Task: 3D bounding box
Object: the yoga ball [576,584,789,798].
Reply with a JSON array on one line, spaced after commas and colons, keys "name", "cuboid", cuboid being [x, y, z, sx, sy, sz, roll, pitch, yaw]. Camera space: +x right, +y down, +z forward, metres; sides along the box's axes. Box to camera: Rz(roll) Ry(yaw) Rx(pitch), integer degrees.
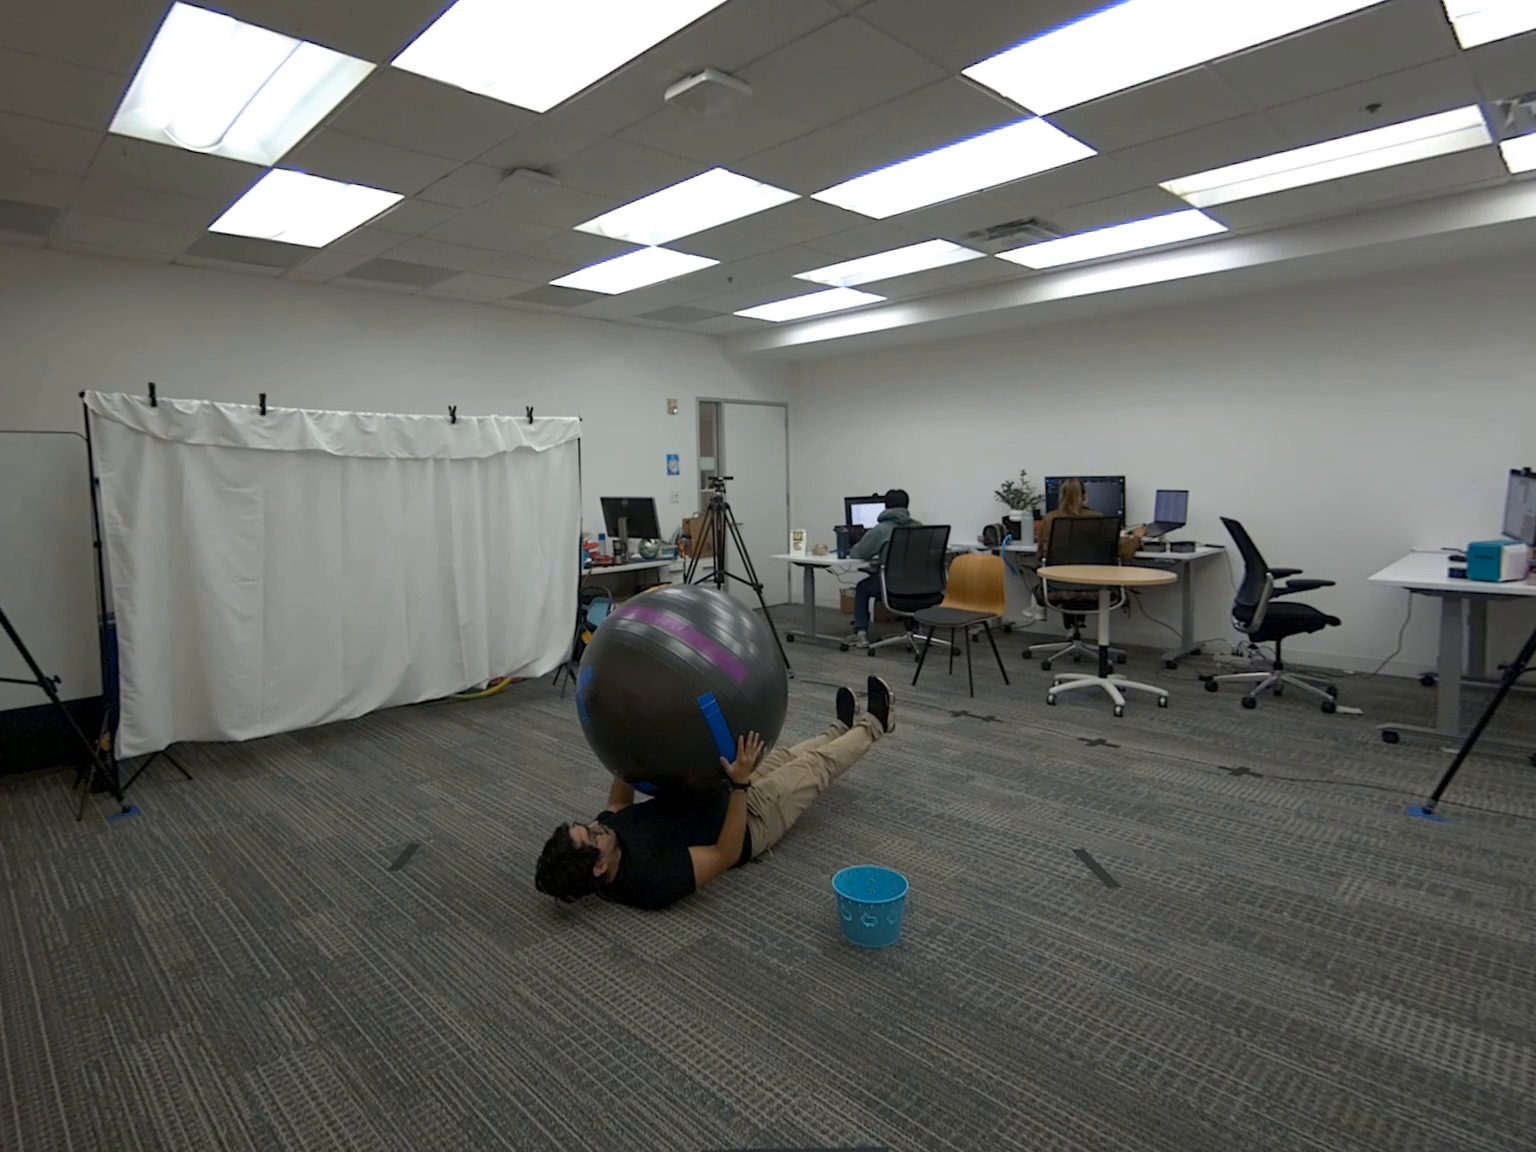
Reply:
[{"name": "yoga ball", "cuboid": [-0.303, 0.411, 3.067, 0.757, 0.755, 0.761, -1, 4, -2]}]
